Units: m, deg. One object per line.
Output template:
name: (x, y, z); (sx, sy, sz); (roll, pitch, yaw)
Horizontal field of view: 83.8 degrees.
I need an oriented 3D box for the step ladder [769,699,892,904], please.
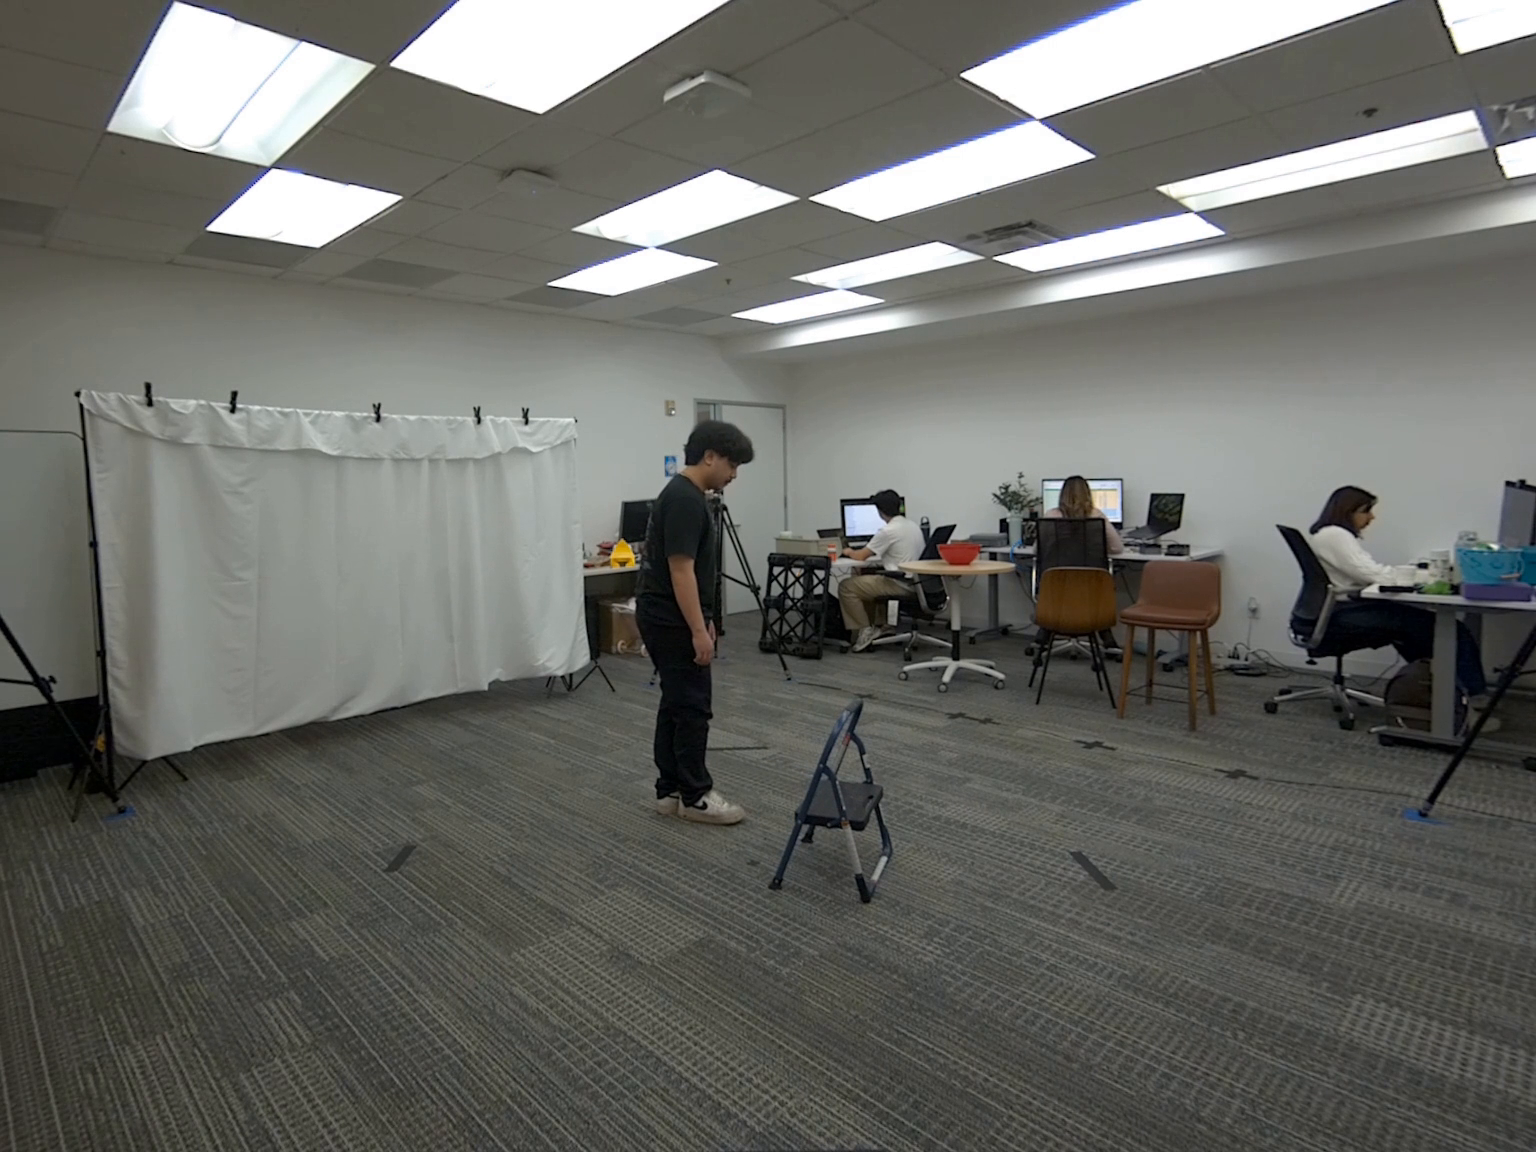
step ladder: (0.230, 0.743, 3.021); (0.356, 0.604, 0.424); (0, 5, 20)
